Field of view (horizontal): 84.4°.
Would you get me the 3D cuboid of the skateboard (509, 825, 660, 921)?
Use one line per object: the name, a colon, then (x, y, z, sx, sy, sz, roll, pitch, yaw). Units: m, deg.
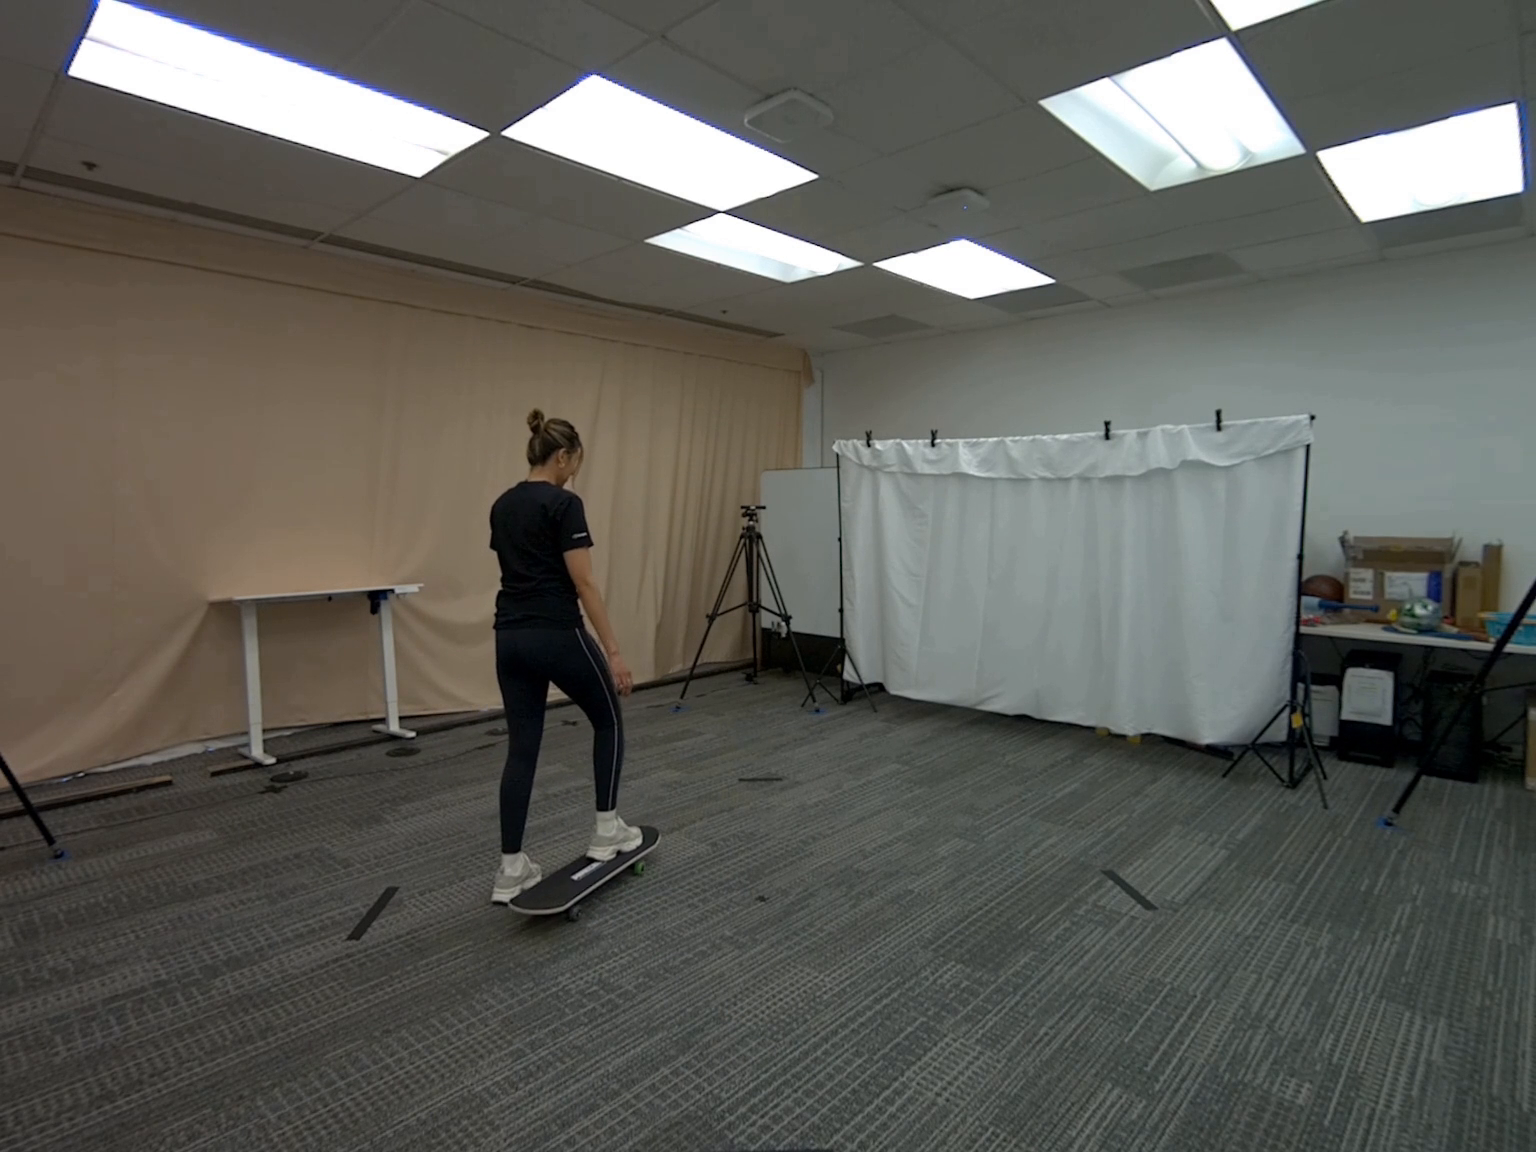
skateboard: (-0.637, 1.084, 3.041, 0.198, 0.110, 0.767, 1, 5, 25)
